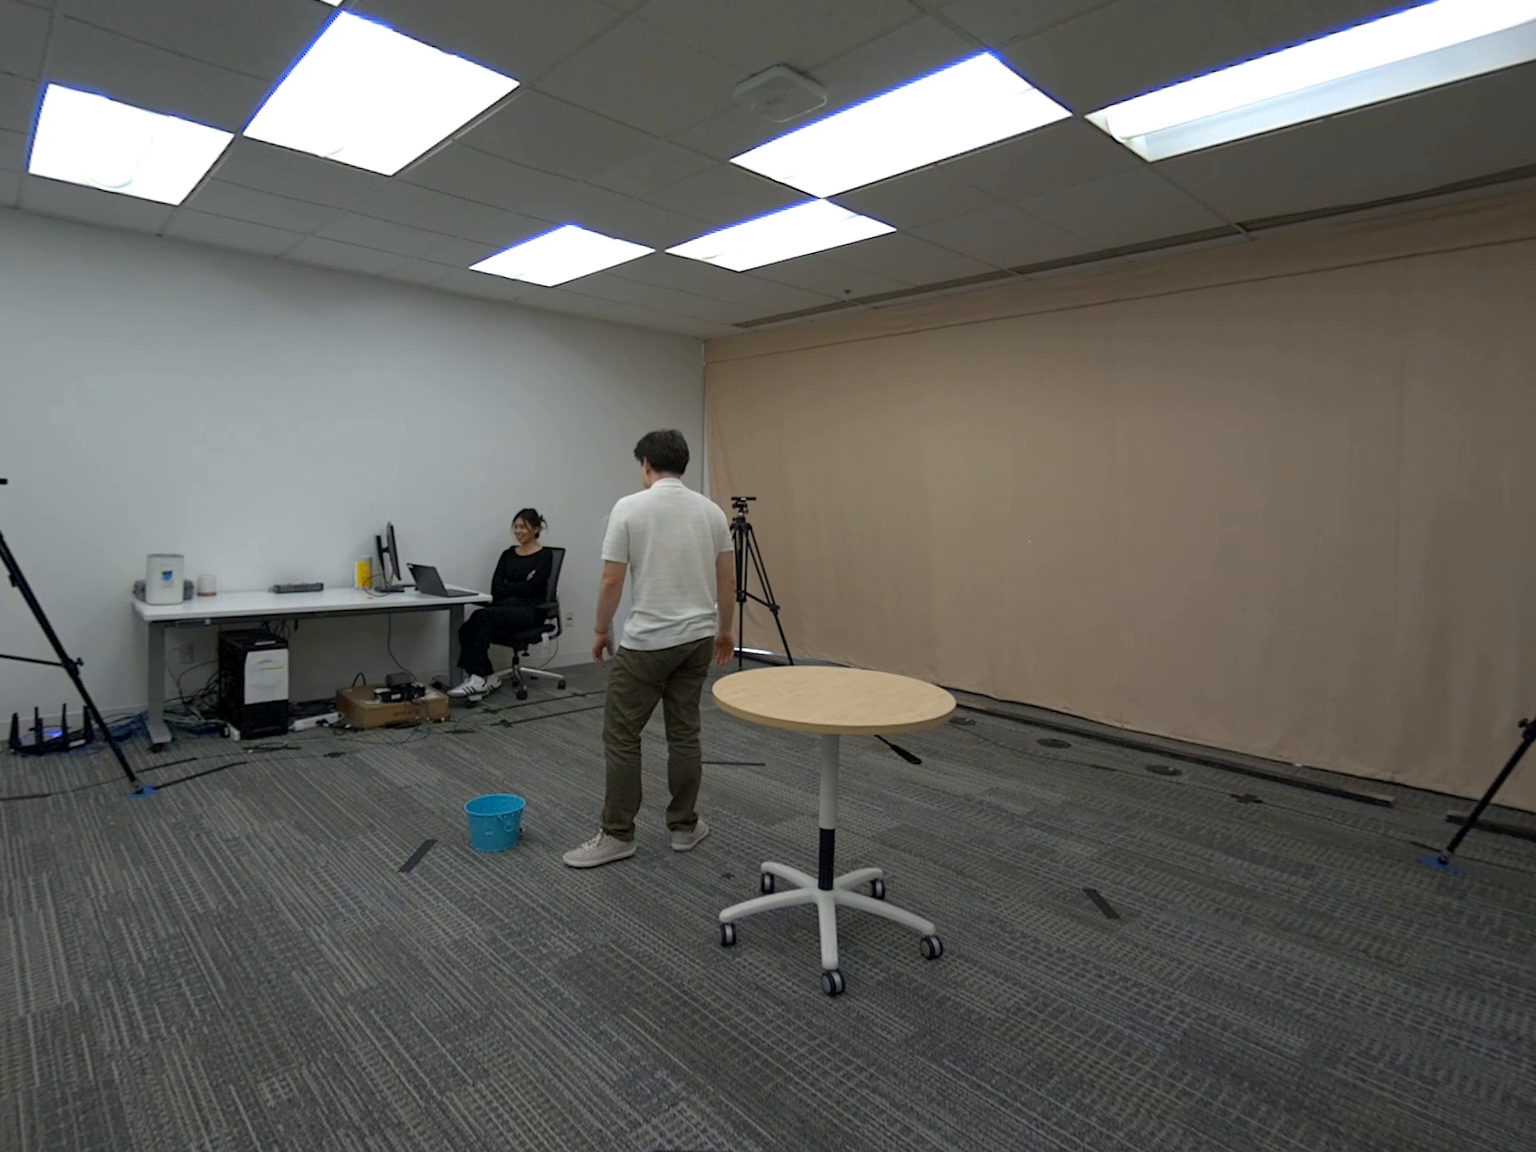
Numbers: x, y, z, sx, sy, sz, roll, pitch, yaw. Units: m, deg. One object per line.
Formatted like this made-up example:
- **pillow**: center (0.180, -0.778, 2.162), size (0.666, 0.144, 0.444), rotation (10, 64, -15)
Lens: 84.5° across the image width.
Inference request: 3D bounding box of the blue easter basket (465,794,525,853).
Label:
- **blue easter basket**: center (-1.085, 0.981, 3.358), size (0.243, 0.155, 0.244), rotation (2, 5, -2)
